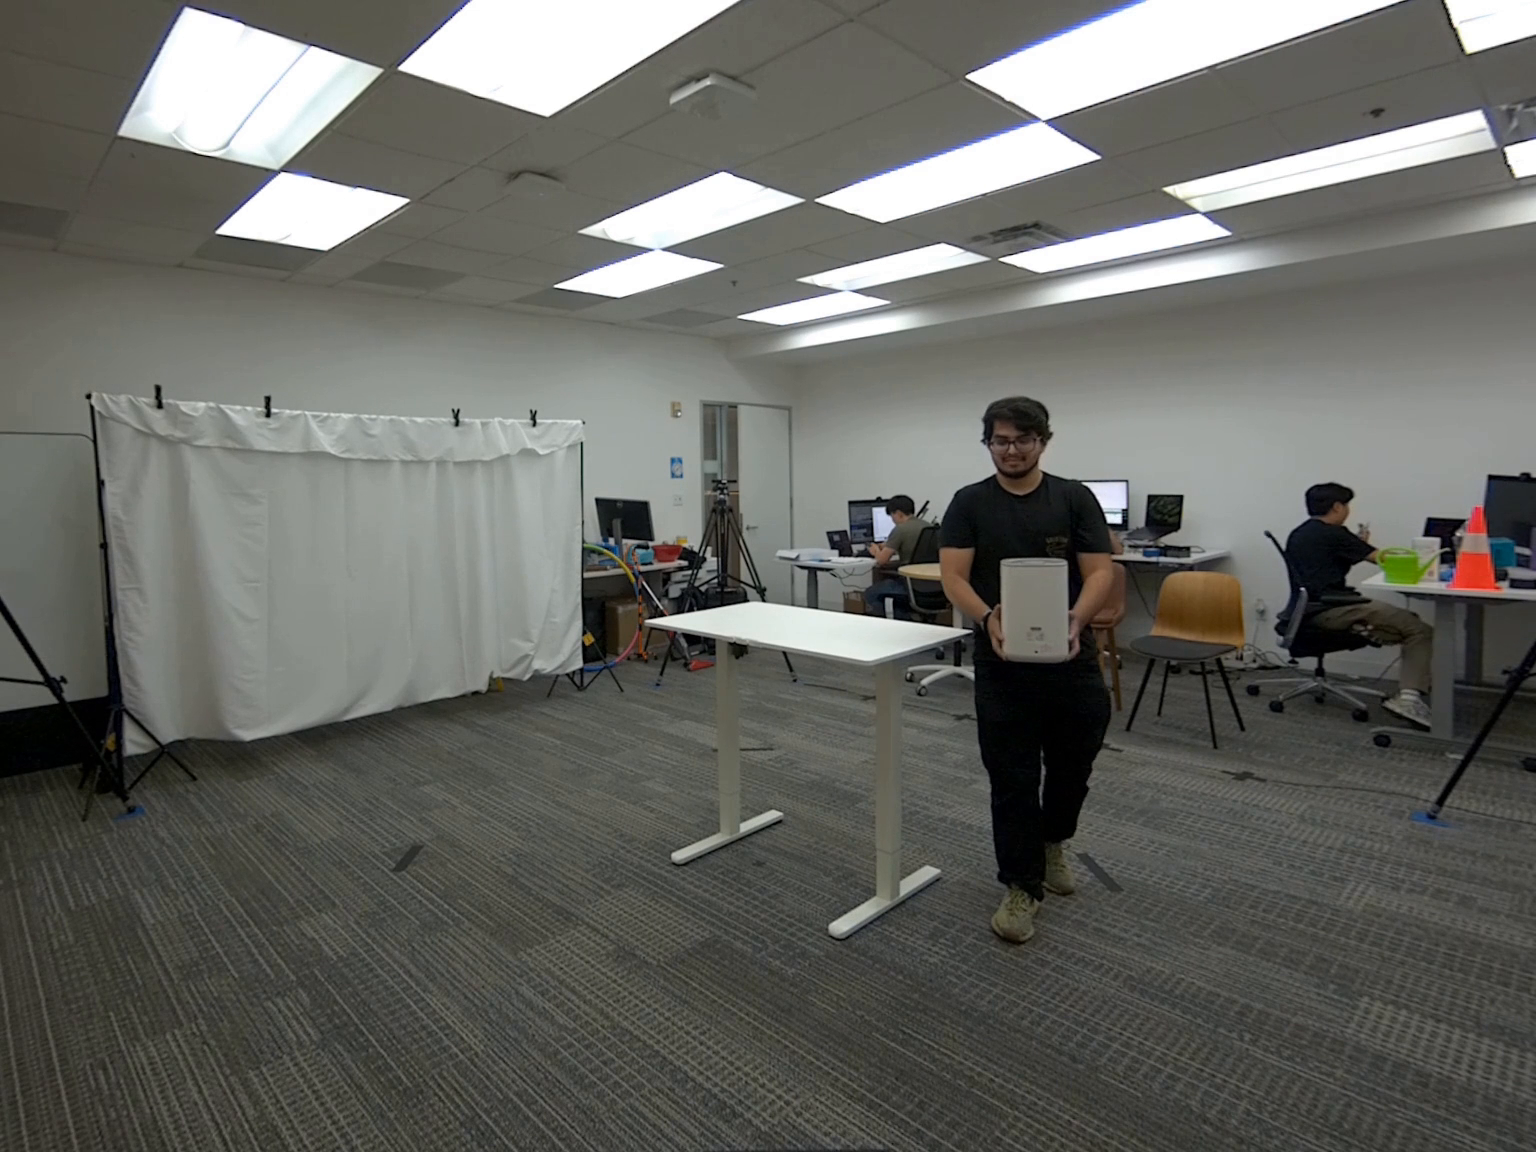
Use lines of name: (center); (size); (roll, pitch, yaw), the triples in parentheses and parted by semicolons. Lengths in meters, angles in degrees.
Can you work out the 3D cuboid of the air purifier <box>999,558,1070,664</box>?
air purifier: (0.736, 0.093, 2.331); (0.173, 0.264, 0.170); (-2, 4, 12)
